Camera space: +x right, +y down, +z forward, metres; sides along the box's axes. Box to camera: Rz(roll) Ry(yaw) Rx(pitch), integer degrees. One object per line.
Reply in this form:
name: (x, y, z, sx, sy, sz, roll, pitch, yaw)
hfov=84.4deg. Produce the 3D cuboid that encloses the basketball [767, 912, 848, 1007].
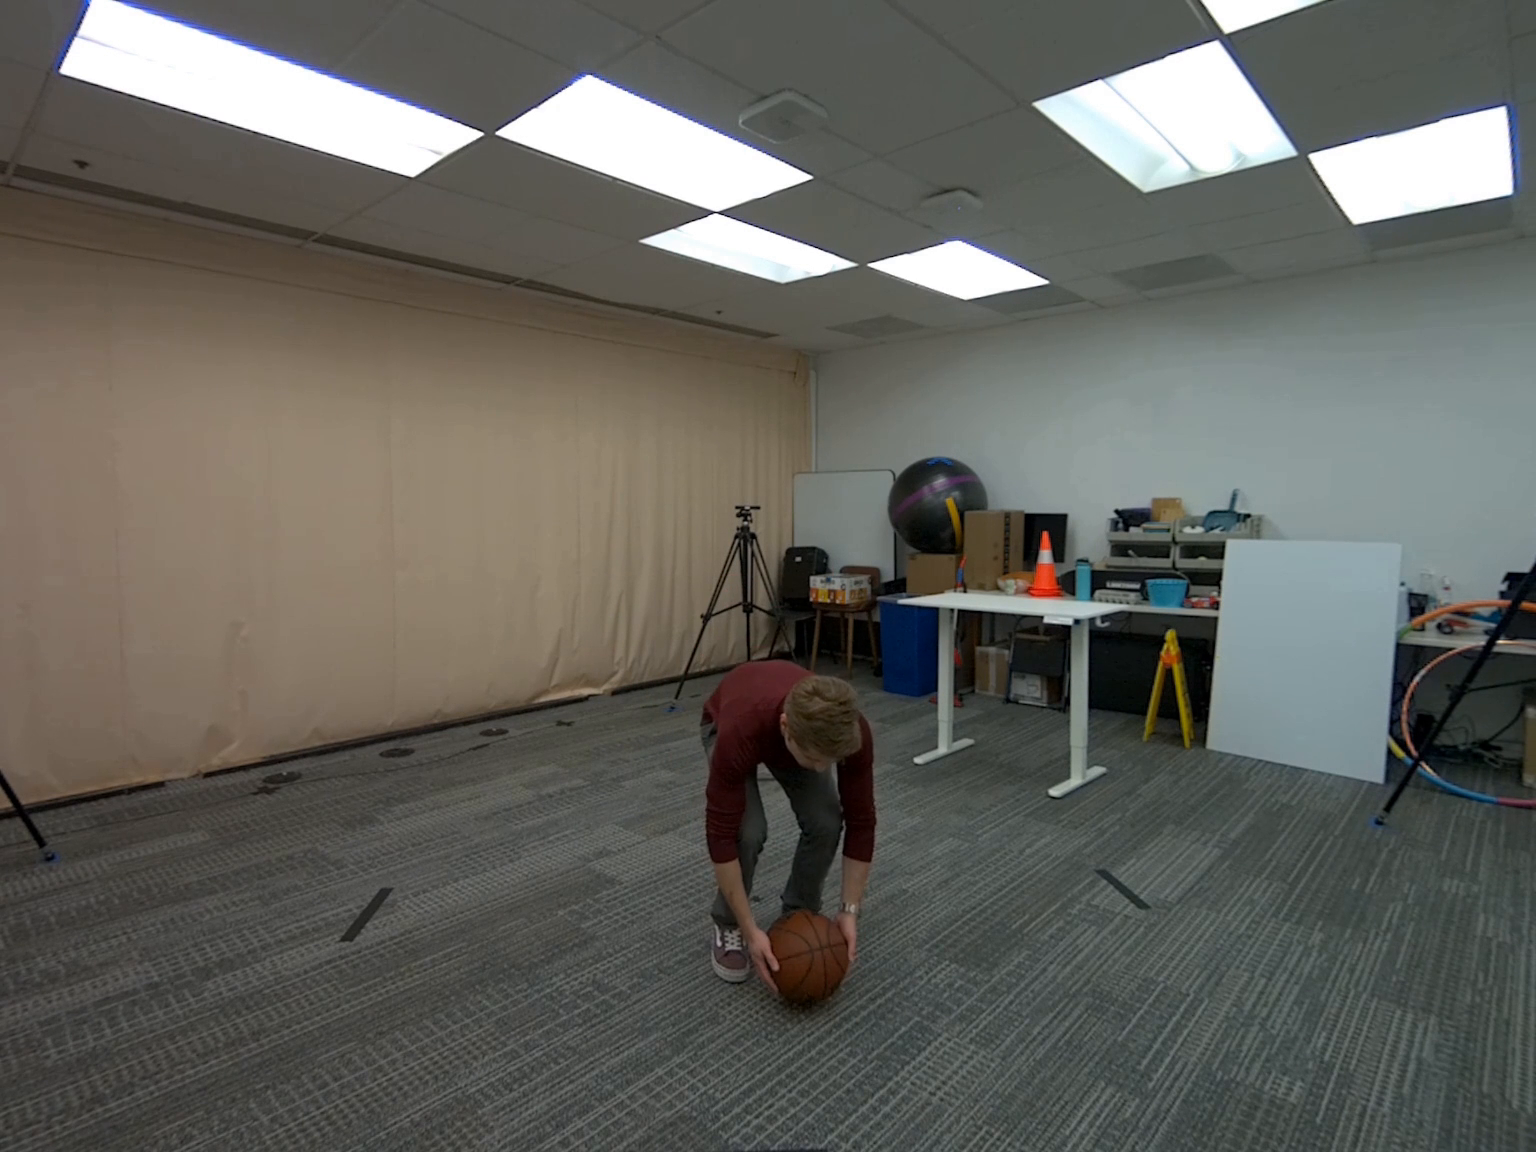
basketball: (0.106, 1.047, 2.347, 0.236, 0.235, 0.237, 0, 4, -2)
